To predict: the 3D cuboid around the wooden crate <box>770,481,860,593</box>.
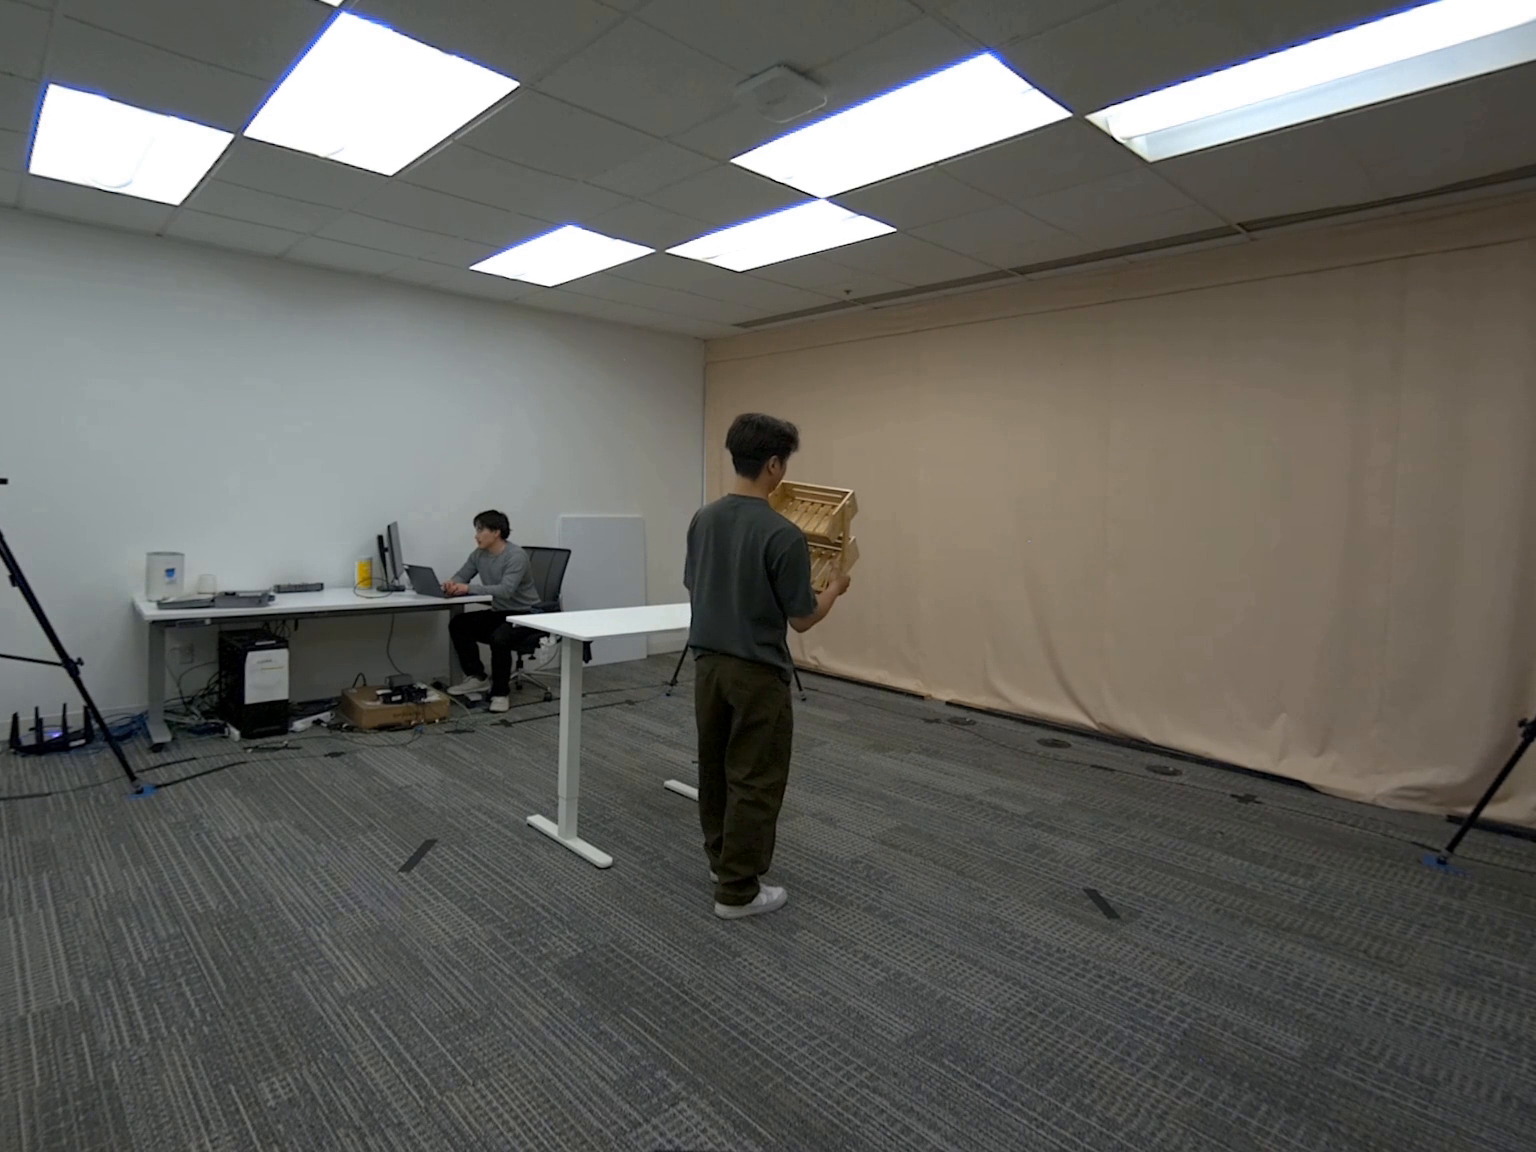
[{"bbox_3d":[0.119,-0.135,2.995,0.333,0.266,0.302,12,45,33],"label":"wooden crate"}]
